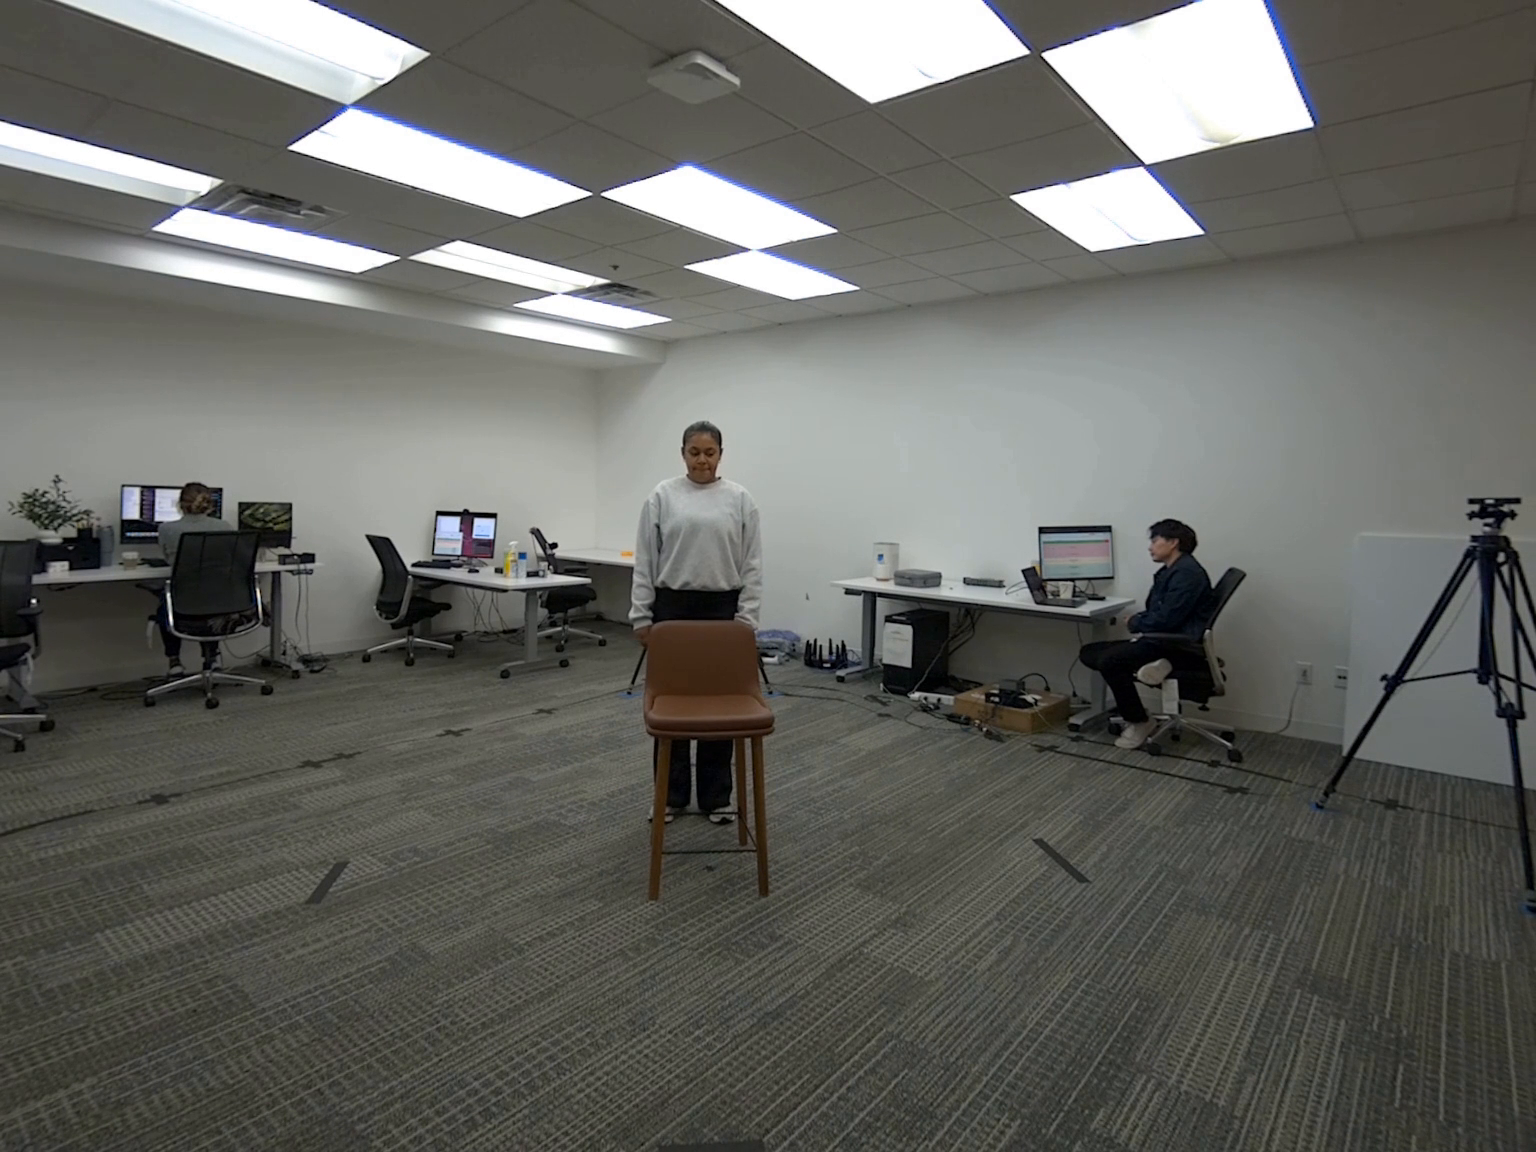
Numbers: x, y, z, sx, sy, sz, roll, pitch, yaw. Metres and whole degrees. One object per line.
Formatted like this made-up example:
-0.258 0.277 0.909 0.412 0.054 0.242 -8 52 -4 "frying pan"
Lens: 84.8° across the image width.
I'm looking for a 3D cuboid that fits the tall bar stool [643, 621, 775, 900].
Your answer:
-0.230 0.633 3.095 0.454 0.889 0.471 0 1 -7 "tall bar stool"
